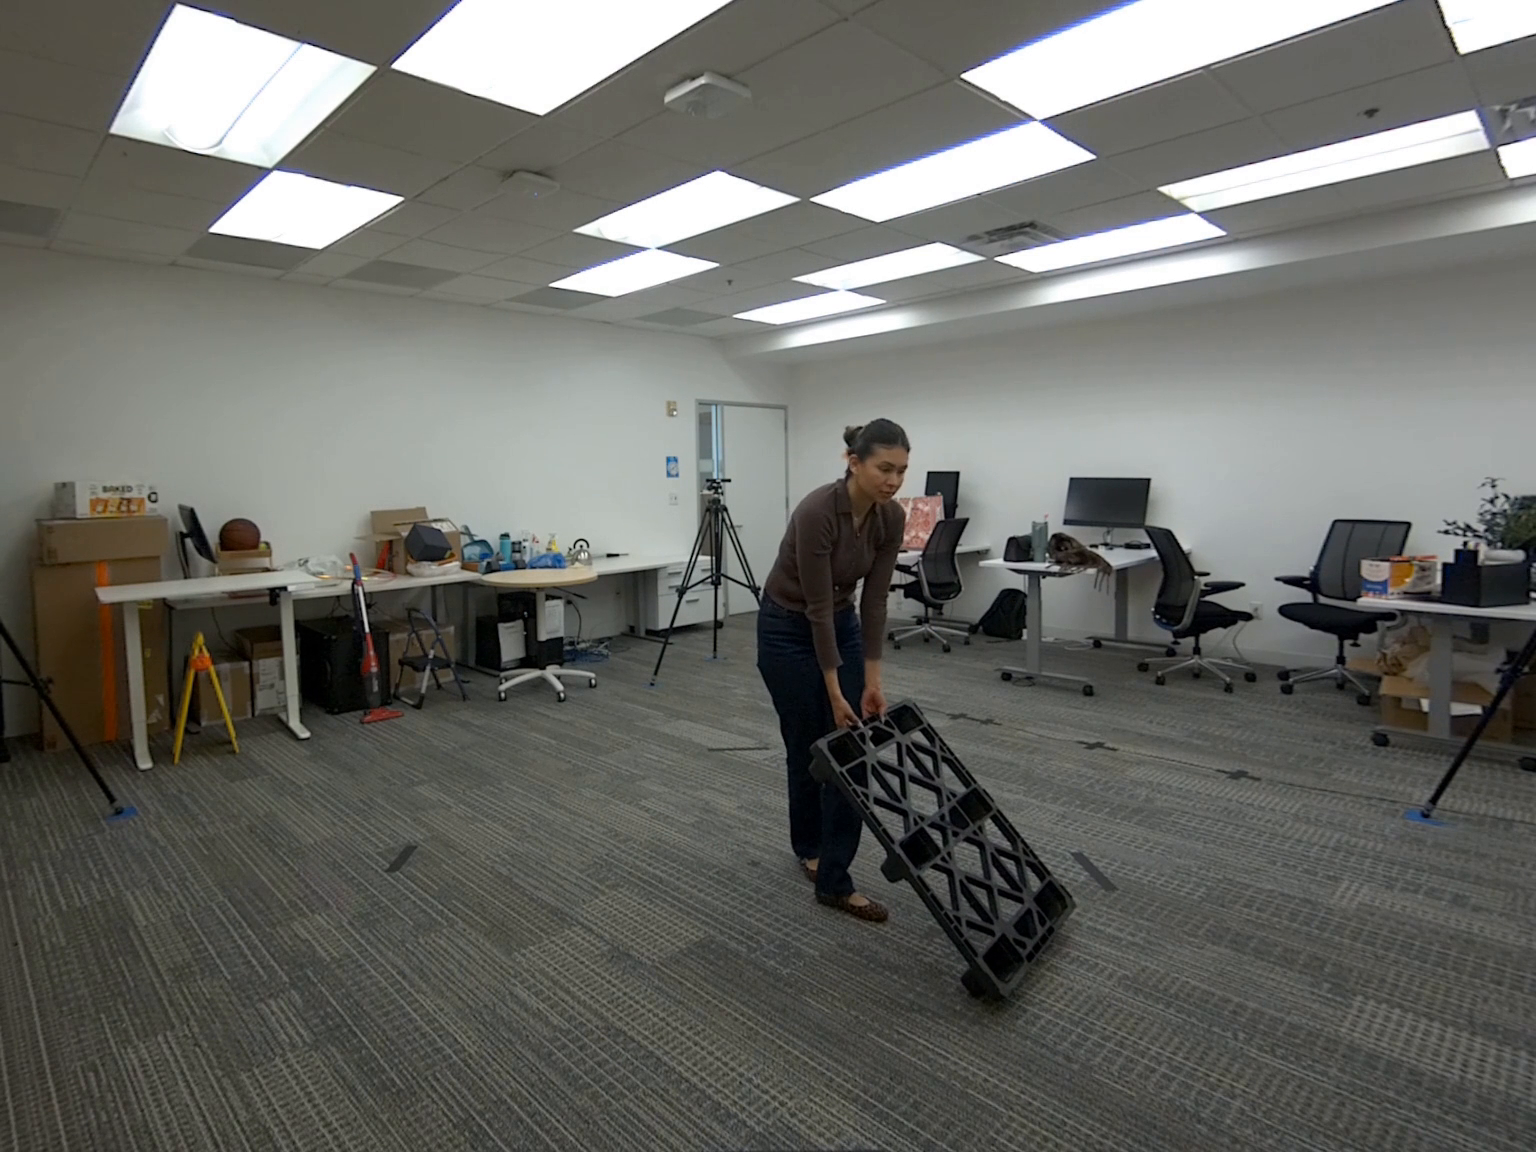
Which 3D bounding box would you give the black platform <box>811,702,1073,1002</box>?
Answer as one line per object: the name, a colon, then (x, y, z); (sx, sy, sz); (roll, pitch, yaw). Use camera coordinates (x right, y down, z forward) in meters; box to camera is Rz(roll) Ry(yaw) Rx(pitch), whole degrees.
black platform: (0.518, 0.783, 2.588); (0.590, 0.829, 0.143); (-7, -38, -52)
